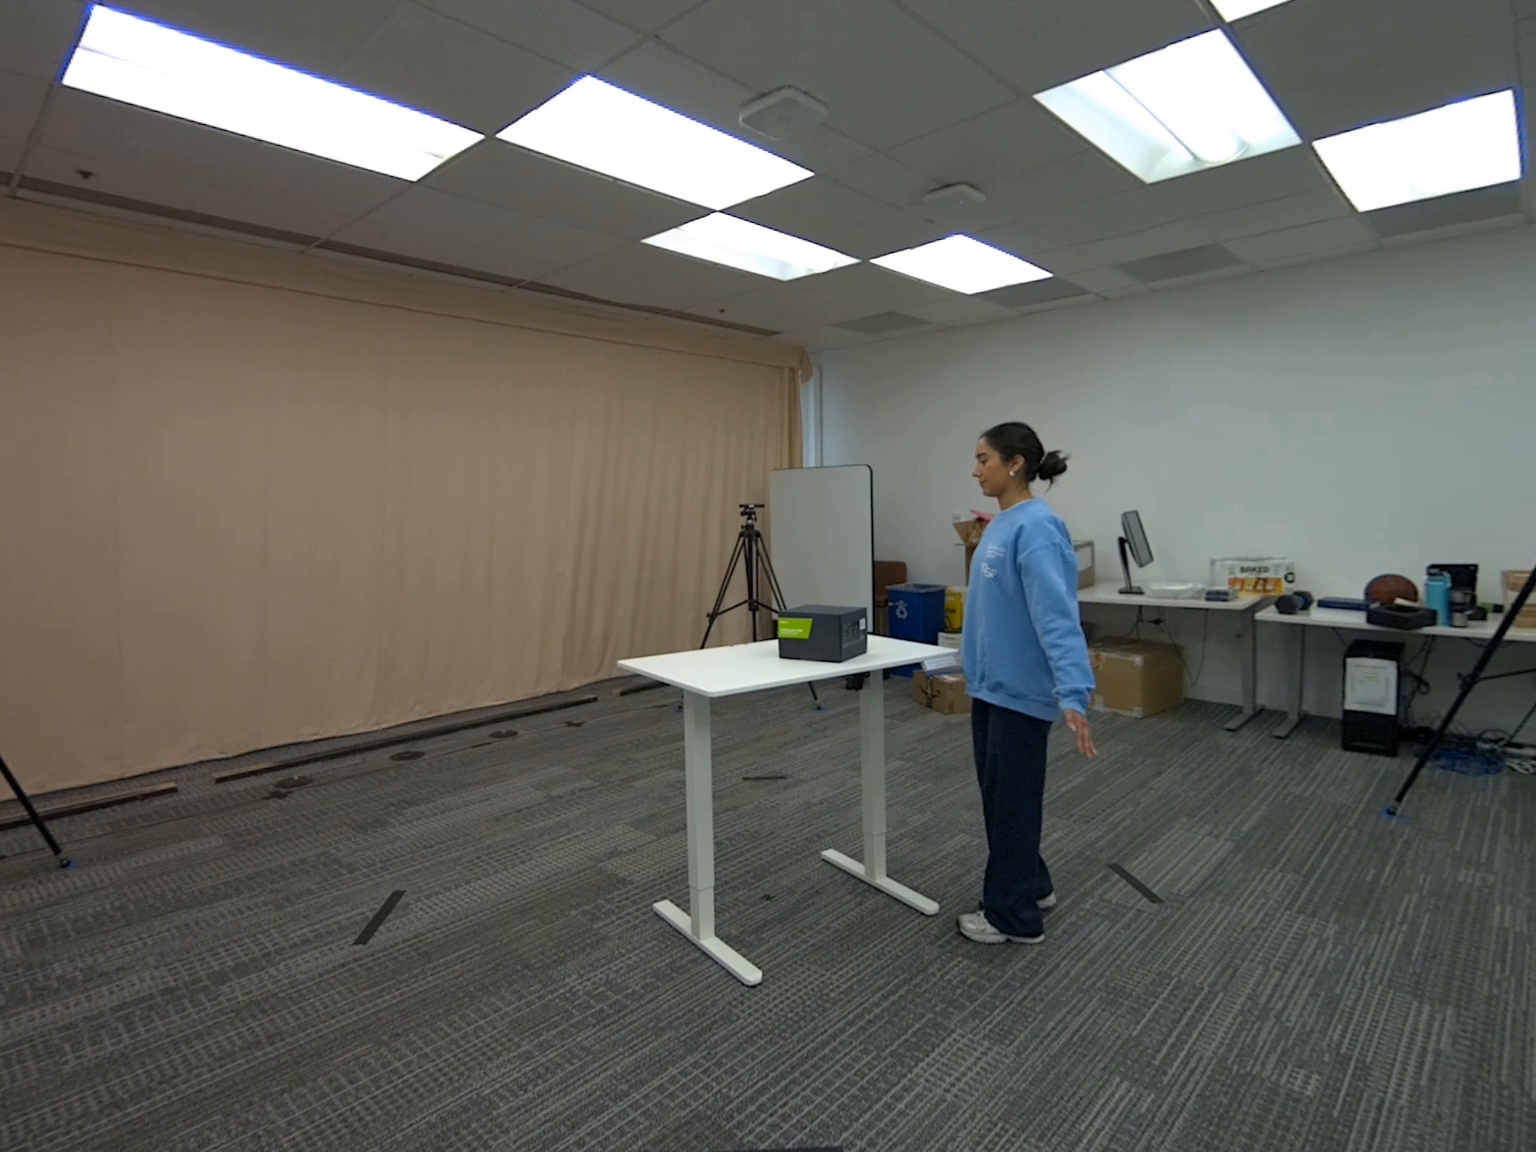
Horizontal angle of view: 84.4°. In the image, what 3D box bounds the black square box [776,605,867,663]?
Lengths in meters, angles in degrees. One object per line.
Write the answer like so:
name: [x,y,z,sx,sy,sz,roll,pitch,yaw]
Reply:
black square box: [0.185,0.190,2.815,0.234,0.155,0.211,1,4,31]
